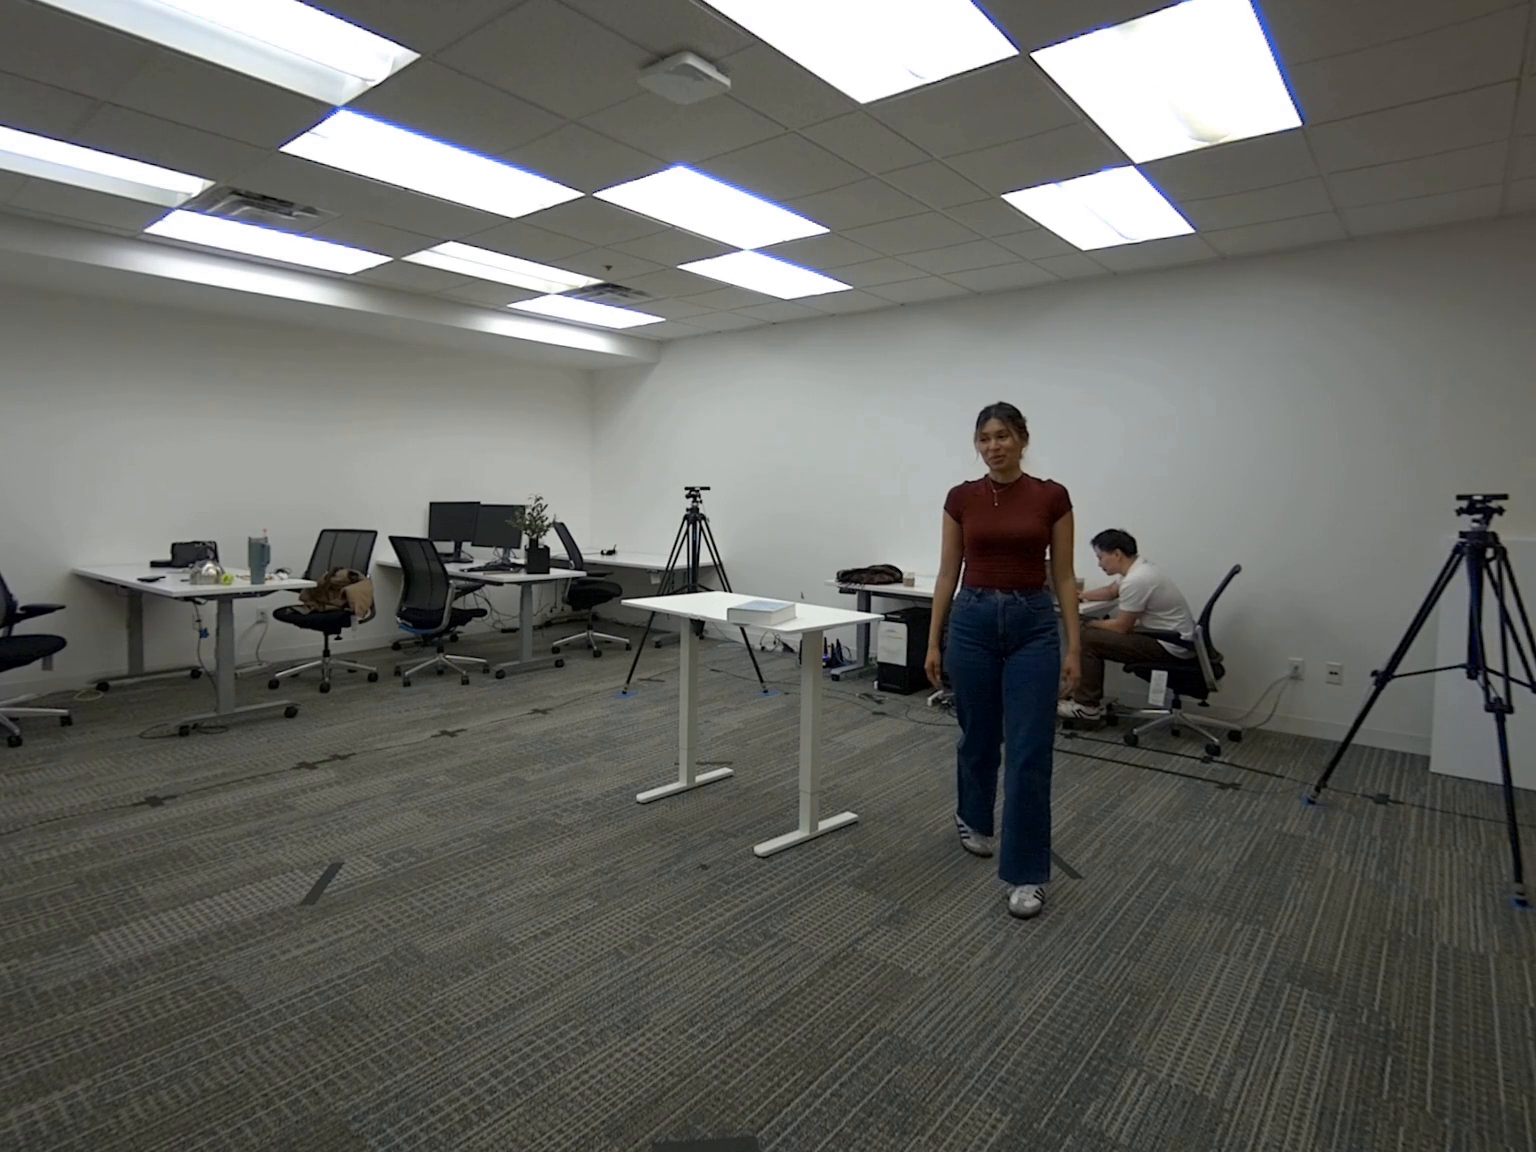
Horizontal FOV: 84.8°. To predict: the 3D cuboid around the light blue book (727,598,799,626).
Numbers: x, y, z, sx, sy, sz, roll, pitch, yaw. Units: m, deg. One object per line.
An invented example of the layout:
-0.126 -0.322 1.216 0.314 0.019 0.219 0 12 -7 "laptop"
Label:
-0.018 0.137 3.311 0.196 0.059 0.255 3 6 24 "light blue book"
